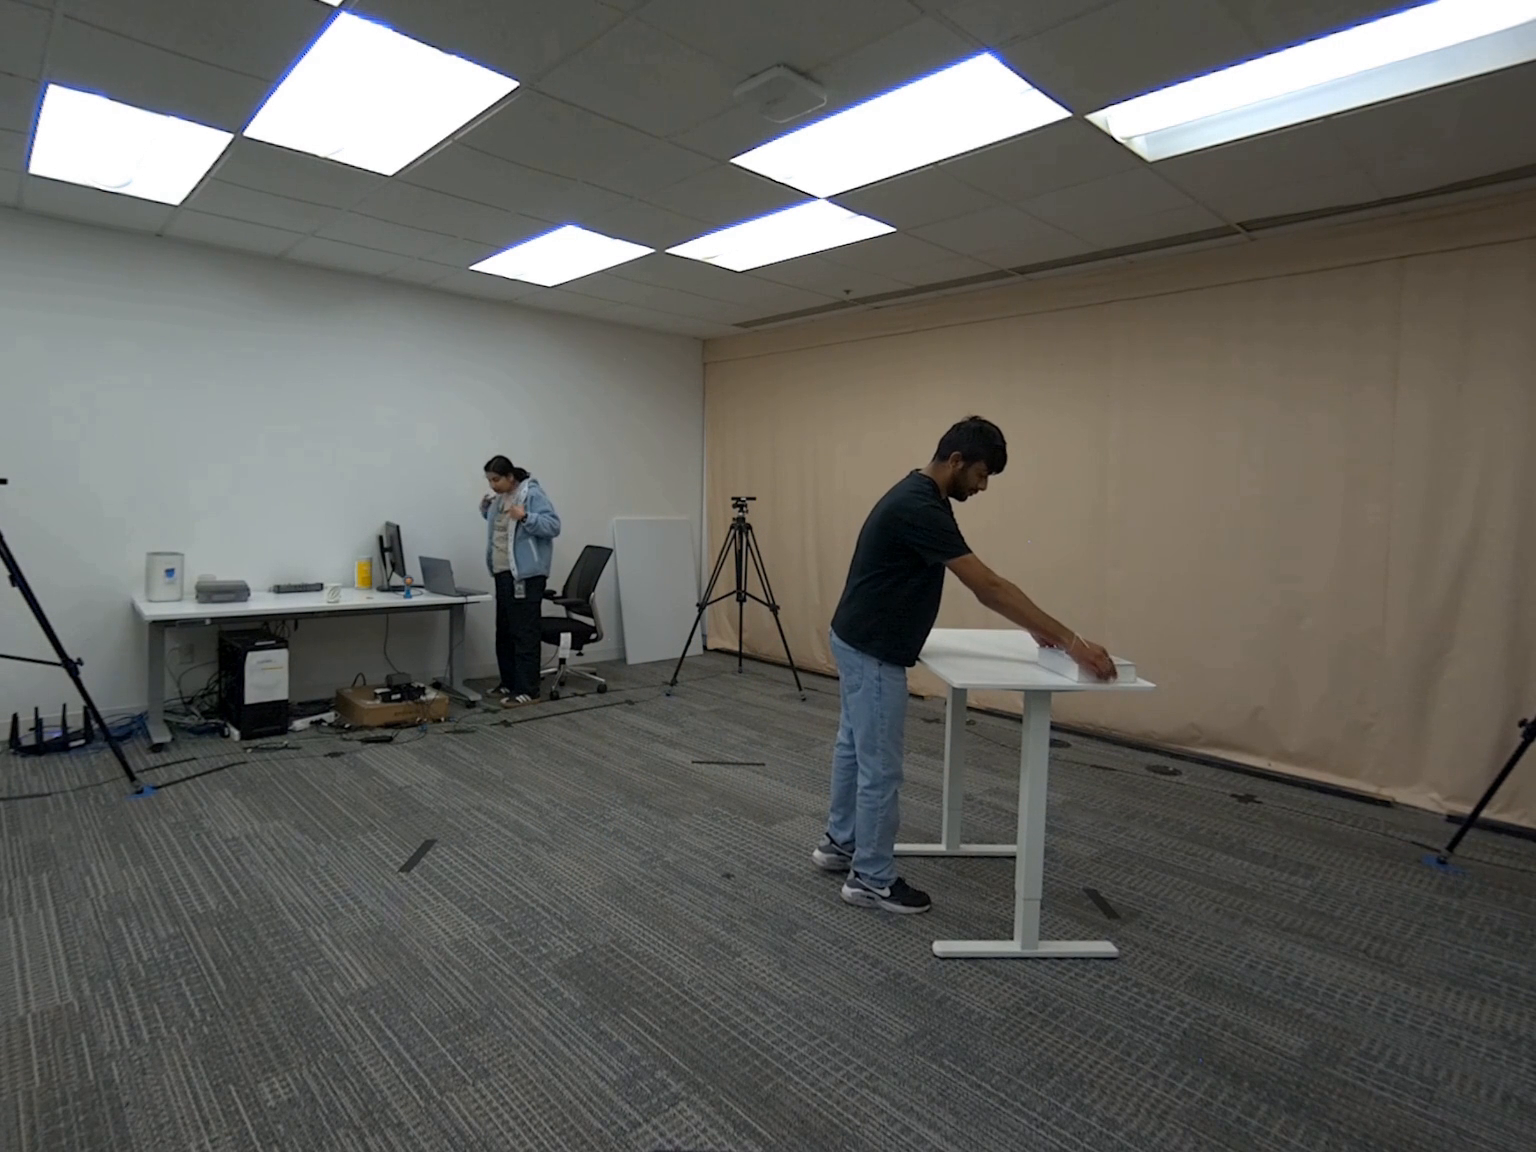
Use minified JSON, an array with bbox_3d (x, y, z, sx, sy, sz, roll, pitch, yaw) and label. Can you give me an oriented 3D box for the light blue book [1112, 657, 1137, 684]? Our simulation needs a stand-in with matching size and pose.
[{"bbox_3d":[0.983,0.271,2.596,0.190,0.059,0.263,1,5,-7],"label":"light blue book"}]
